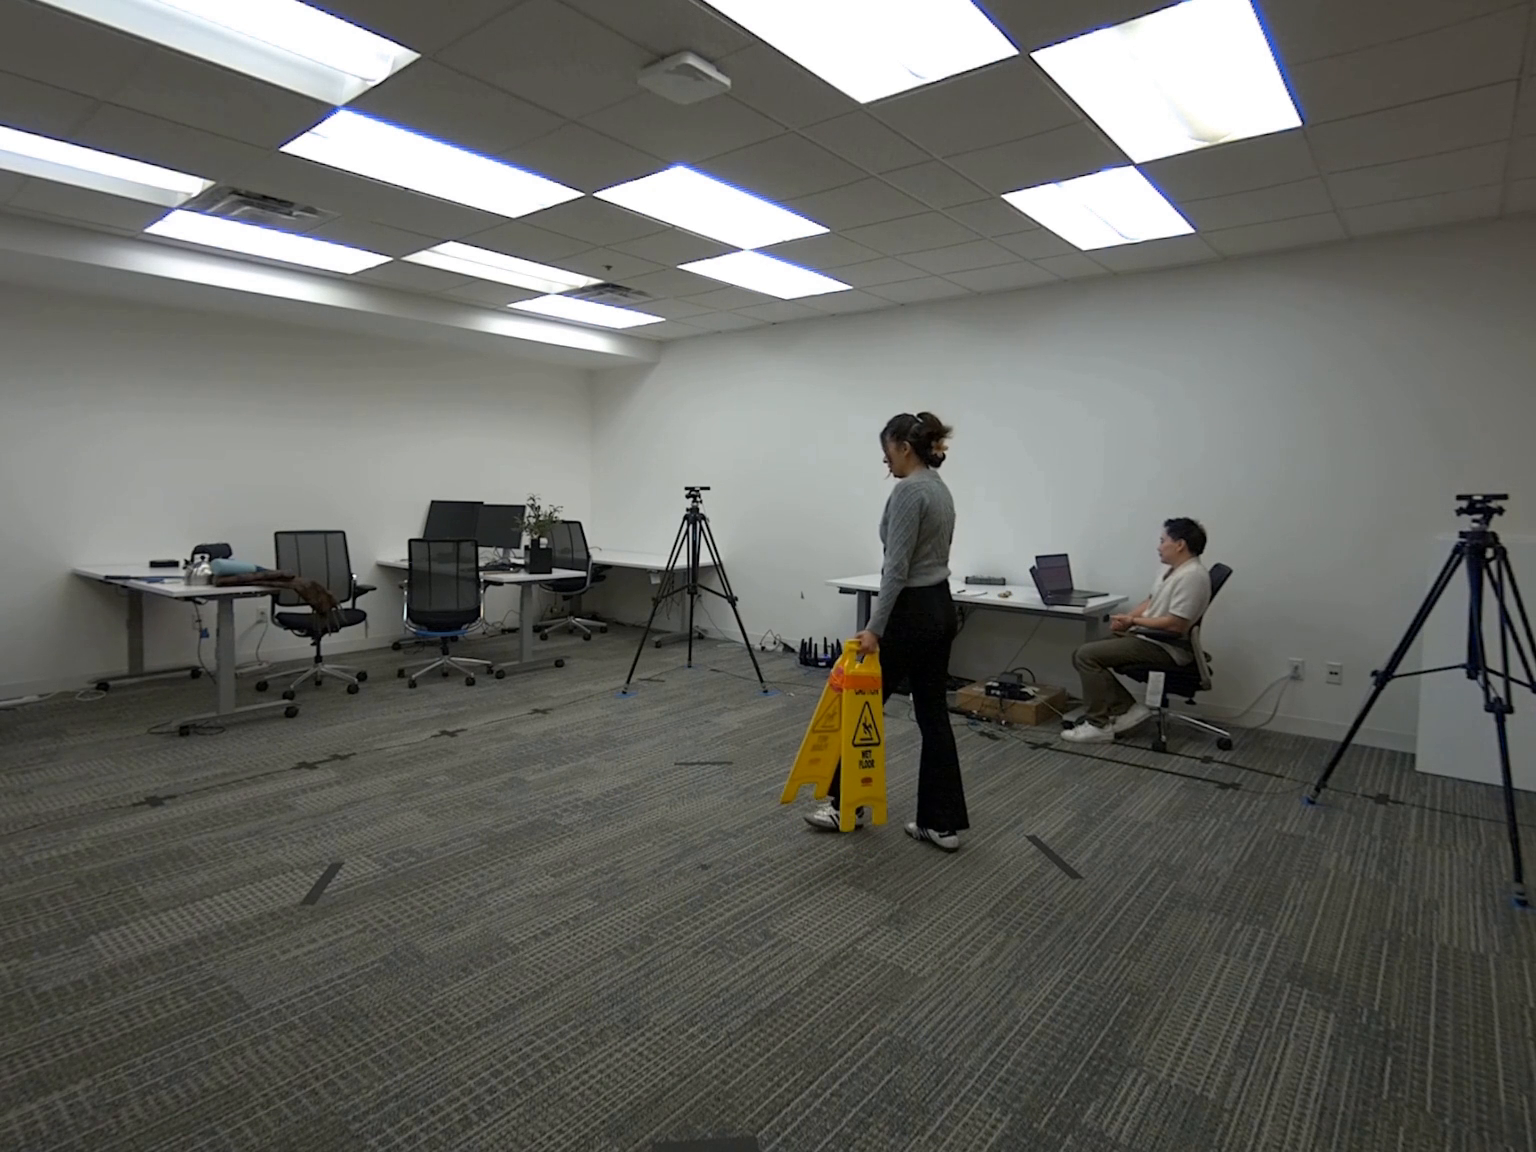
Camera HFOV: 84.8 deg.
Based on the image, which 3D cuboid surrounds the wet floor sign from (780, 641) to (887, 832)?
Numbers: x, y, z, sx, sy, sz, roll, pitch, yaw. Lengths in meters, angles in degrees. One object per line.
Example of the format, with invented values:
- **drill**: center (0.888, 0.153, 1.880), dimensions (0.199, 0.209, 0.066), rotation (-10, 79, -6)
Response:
- **wet floor sign**: center (0.285, 0.554, 3.133), dimensions (0.300, 0.647, 0.272), rotation (8, -1, 43)
